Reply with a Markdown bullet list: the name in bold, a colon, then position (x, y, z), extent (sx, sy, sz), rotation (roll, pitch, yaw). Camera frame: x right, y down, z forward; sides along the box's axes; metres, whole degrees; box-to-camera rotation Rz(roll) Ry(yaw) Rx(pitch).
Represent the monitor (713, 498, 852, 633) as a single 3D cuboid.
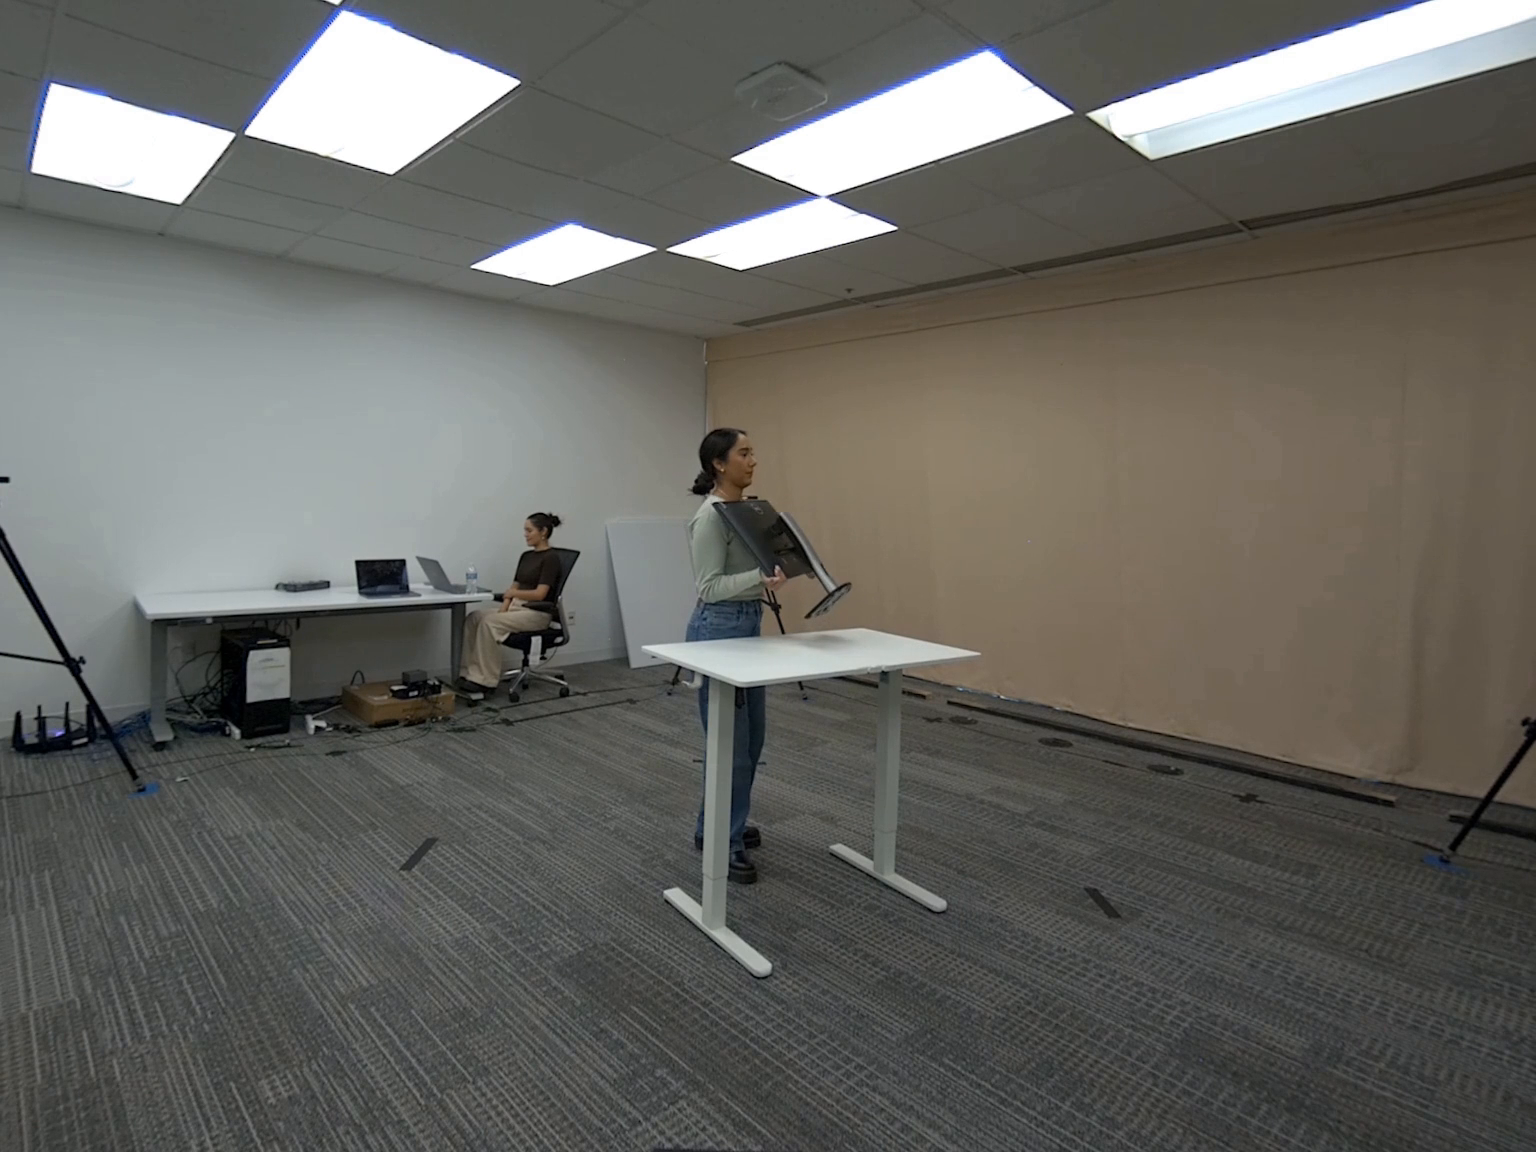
- **monitor**: position (0.066, -0.092, 3.098), extent (0.530, 0.187, 0.532), rotation (47, 16, 11)
